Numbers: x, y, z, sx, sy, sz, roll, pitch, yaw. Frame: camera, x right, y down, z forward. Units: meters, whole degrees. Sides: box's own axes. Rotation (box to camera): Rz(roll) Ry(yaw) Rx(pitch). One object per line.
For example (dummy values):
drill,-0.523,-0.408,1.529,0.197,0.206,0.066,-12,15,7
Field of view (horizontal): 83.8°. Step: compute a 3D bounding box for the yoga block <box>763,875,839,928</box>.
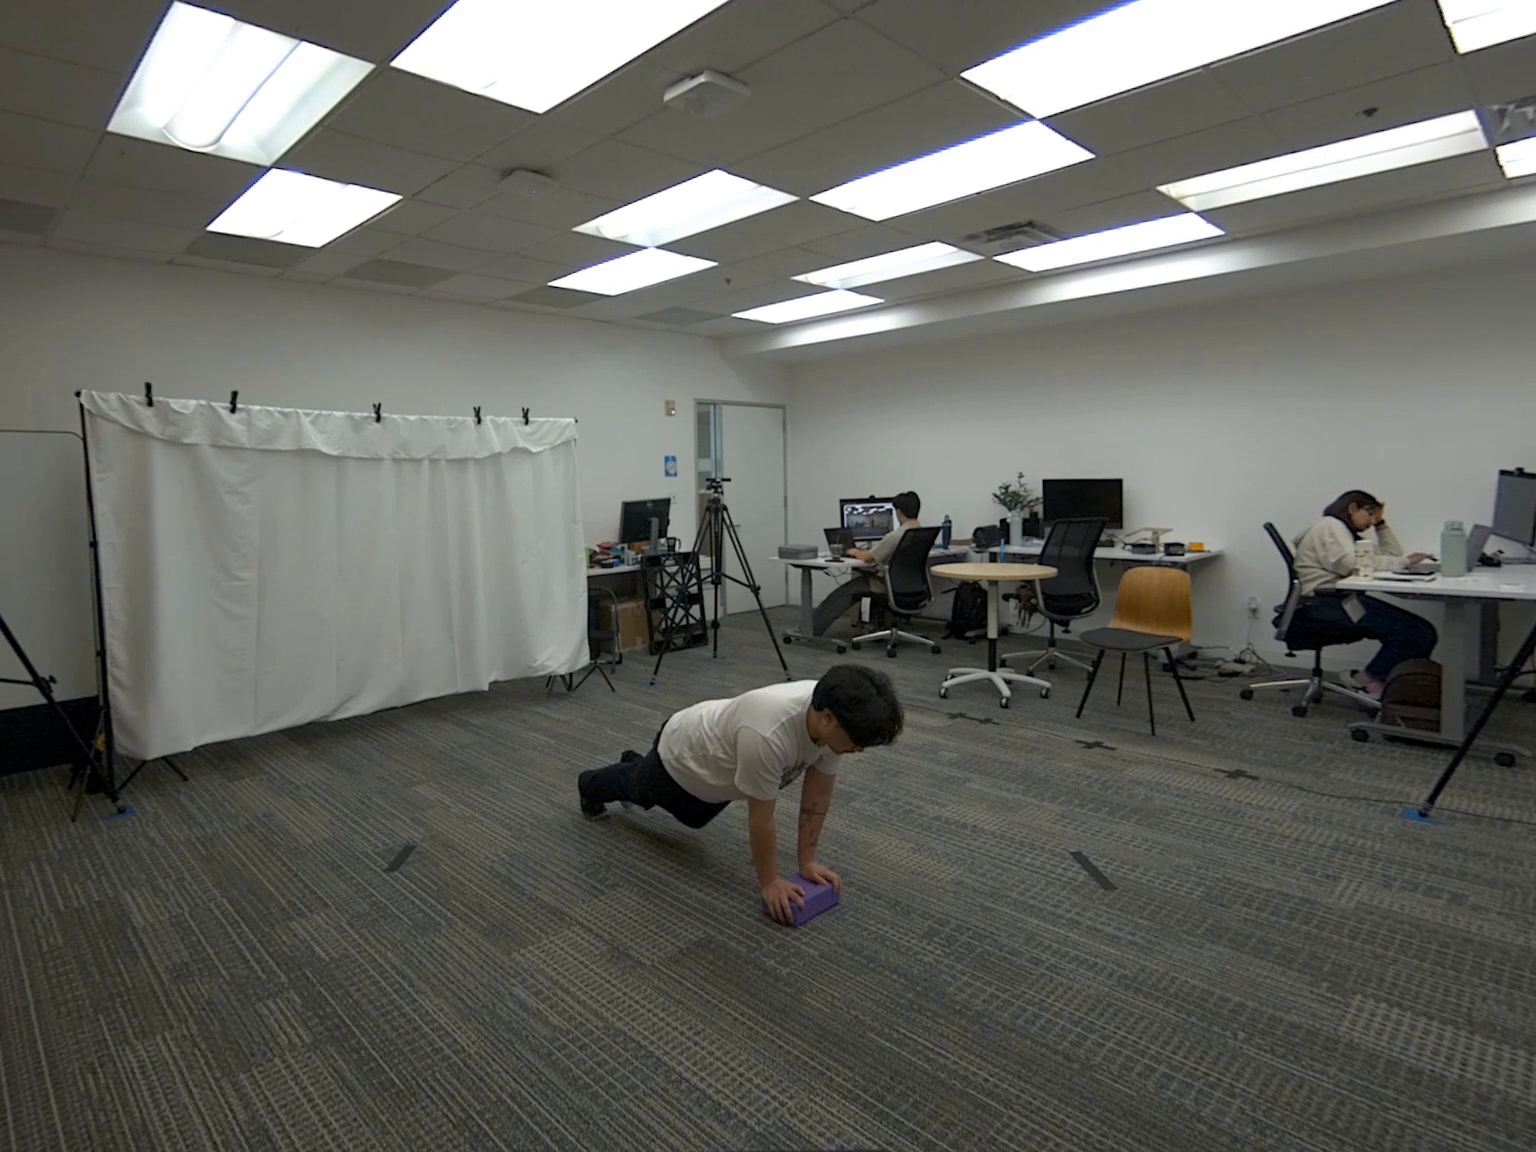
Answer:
yoga block,0.113,1.042,2.776,0.154,0.076,0.223,7,10,44
